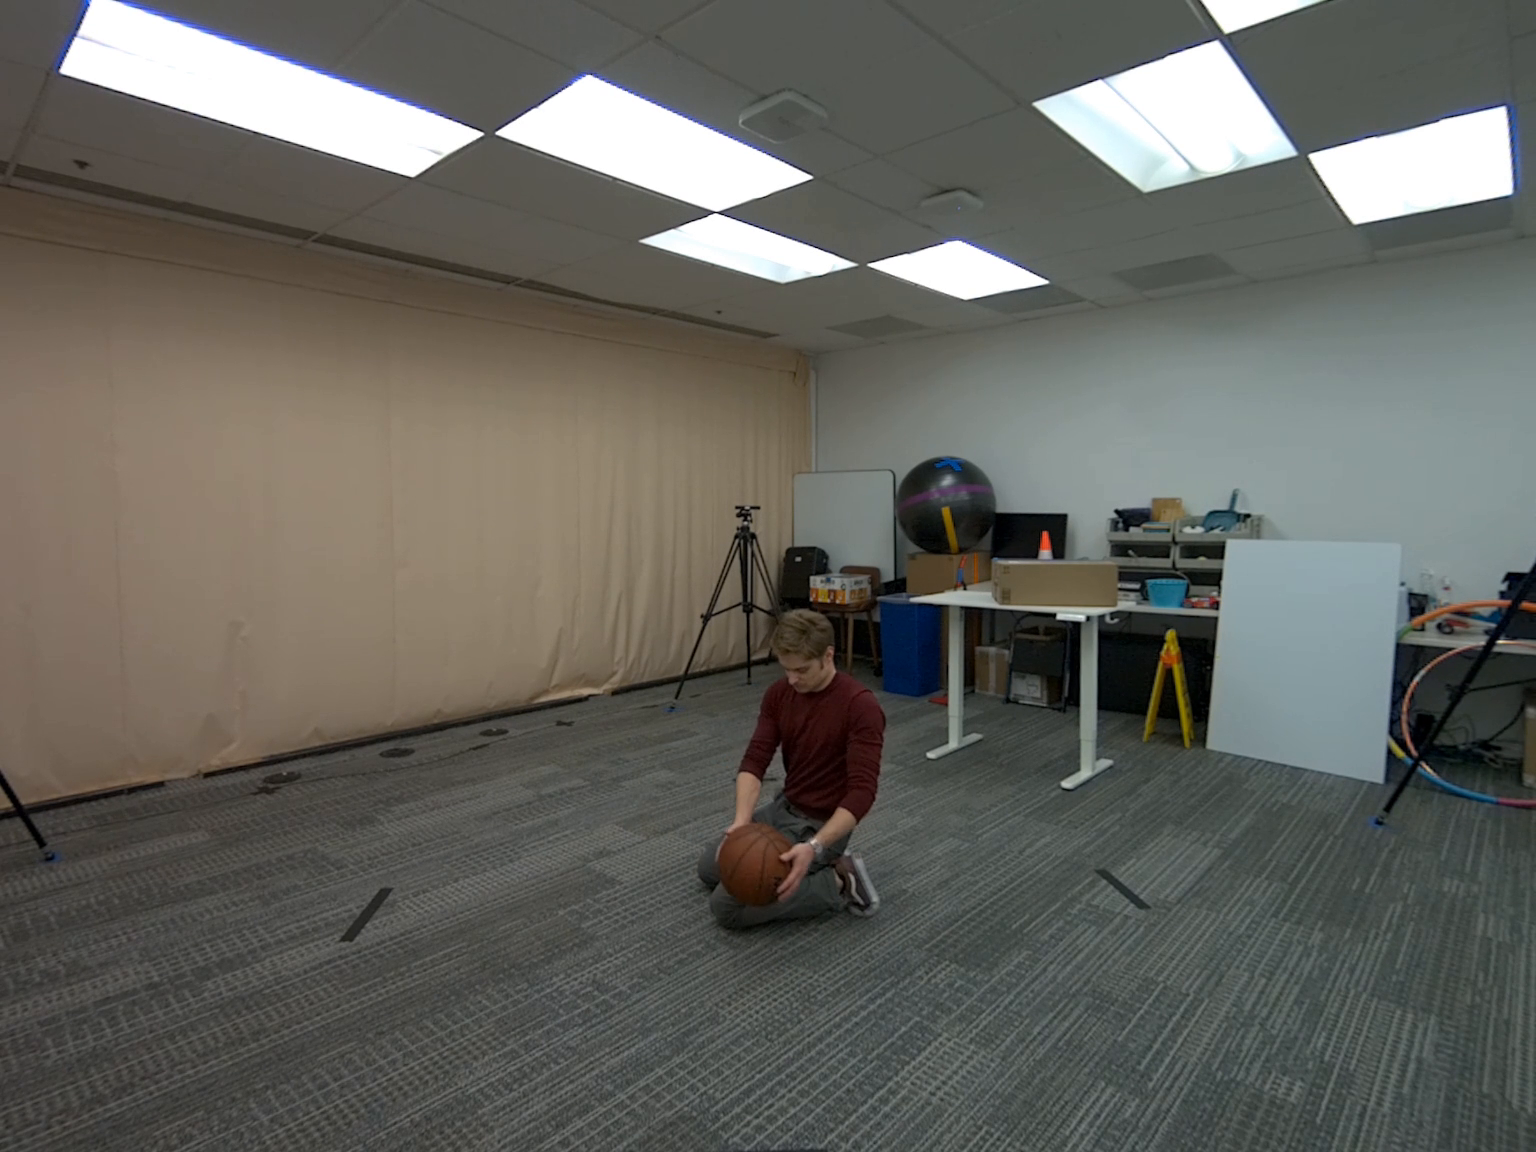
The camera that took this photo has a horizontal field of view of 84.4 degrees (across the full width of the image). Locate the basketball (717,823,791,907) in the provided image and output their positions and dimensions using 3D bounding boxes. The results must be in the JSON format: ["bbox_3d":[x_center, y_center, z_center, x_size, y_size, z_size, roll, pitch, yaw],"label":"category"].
[{"bbox_3d":[-0.033,0.872,2.573,0.236,0.235,0.237,0,4,-2],"label":"basketball"}]
